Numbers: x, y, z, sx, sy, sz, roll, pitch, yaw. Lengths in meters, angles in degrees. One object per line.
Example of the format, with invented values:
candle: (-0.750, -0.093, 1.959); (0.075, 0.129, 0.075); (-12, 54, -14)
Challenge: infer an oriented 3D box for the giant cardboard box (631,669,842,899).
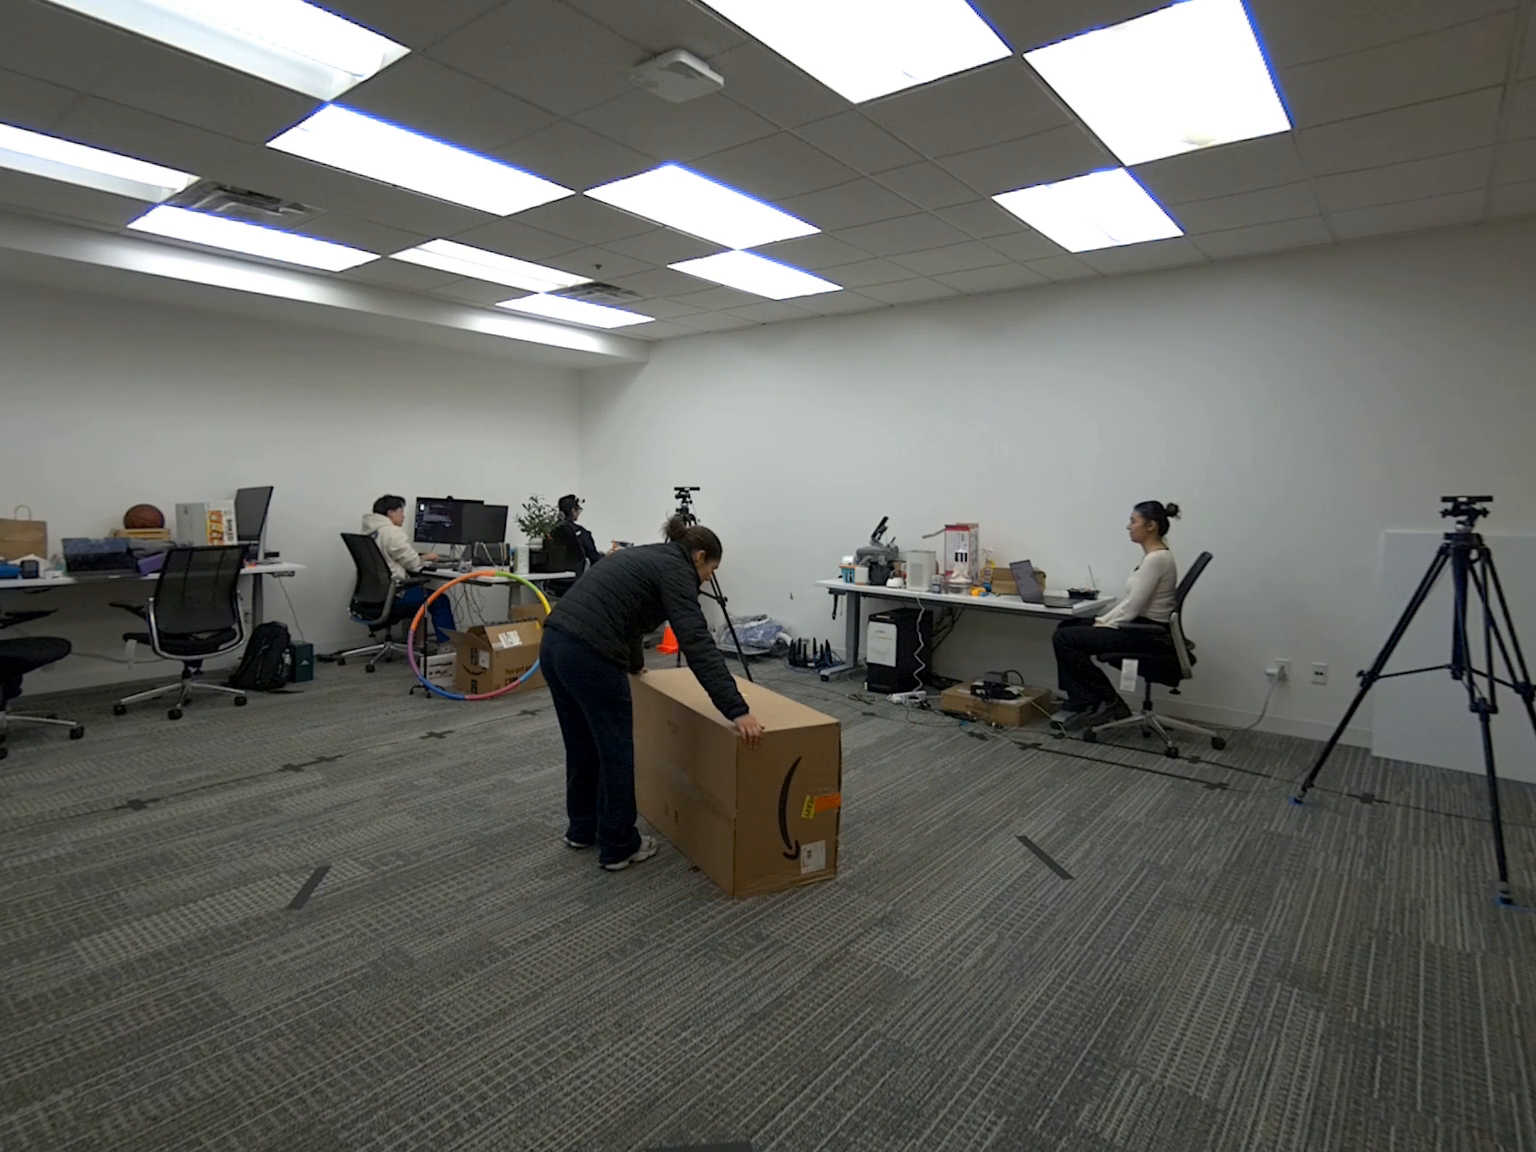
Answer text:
giant cardboard box: (-0.168, 0.748, 3.404); (0.435, 0.582, 1.058); (0, 6, -29)
